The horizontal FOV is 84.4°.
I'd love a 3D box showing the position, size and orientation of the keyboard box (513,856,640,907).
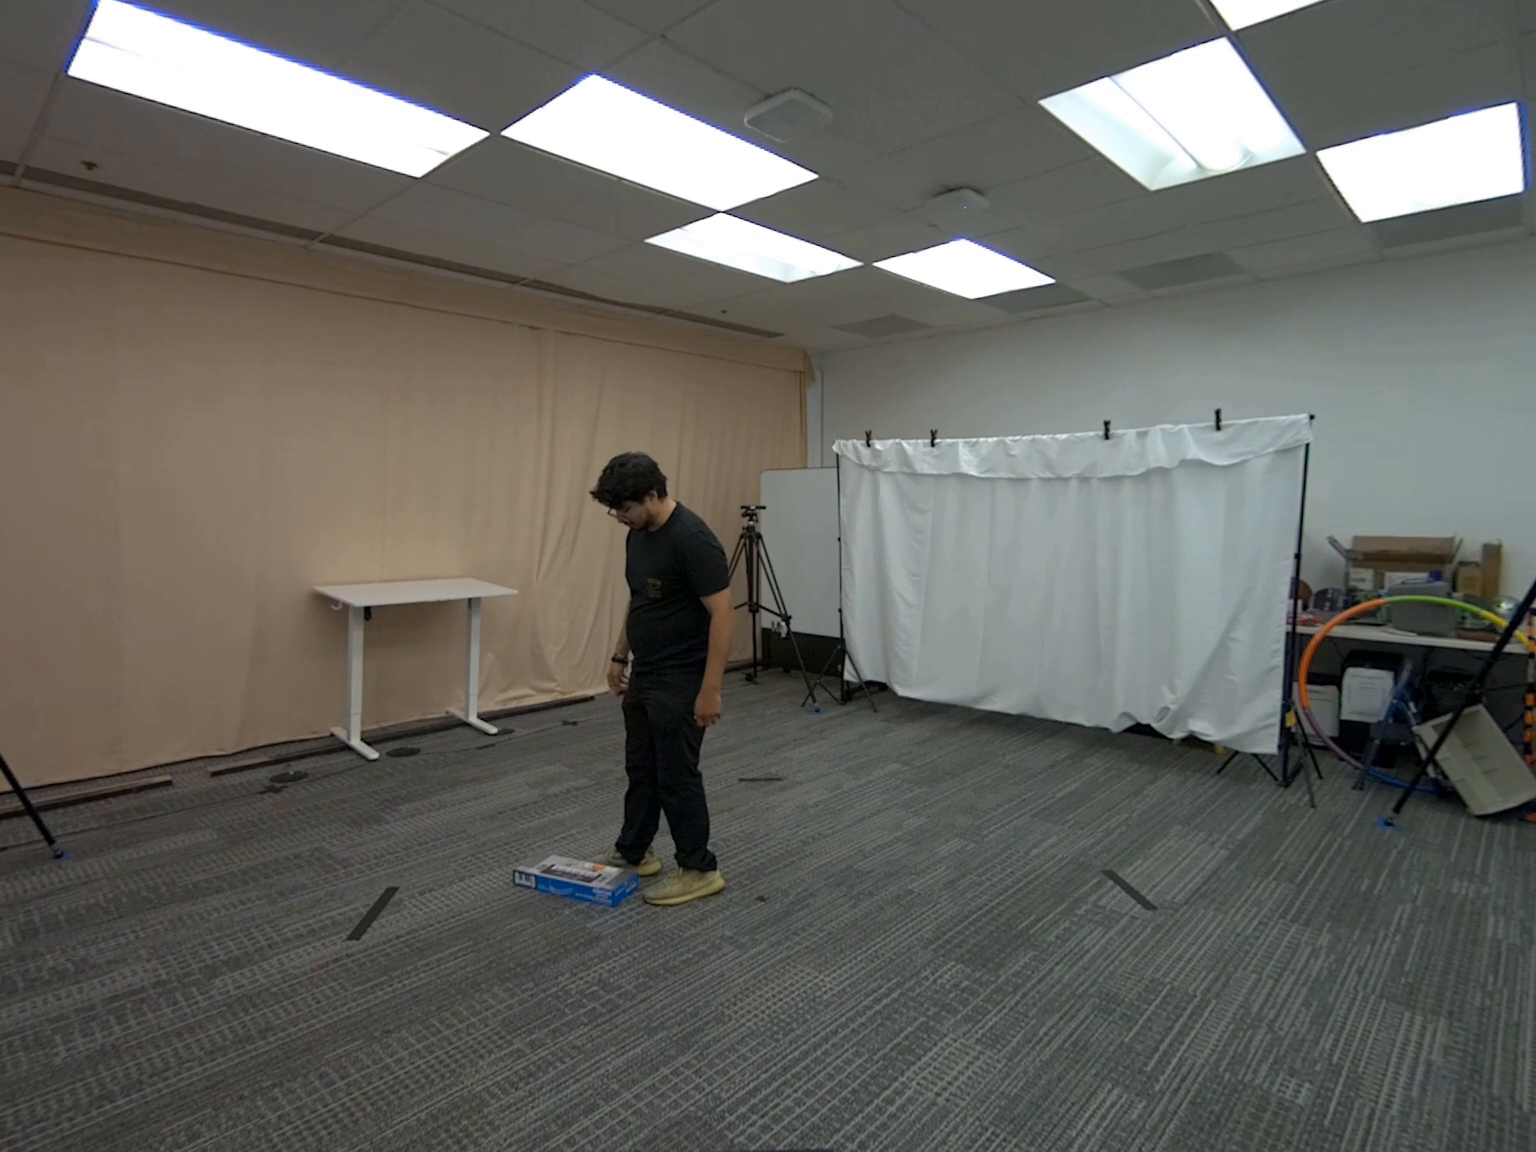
[{"bbox_3d":[-0.707,1.115,3.094,0.448,0.059,0.172,1,4,25],"label":"keyboard box"}]
